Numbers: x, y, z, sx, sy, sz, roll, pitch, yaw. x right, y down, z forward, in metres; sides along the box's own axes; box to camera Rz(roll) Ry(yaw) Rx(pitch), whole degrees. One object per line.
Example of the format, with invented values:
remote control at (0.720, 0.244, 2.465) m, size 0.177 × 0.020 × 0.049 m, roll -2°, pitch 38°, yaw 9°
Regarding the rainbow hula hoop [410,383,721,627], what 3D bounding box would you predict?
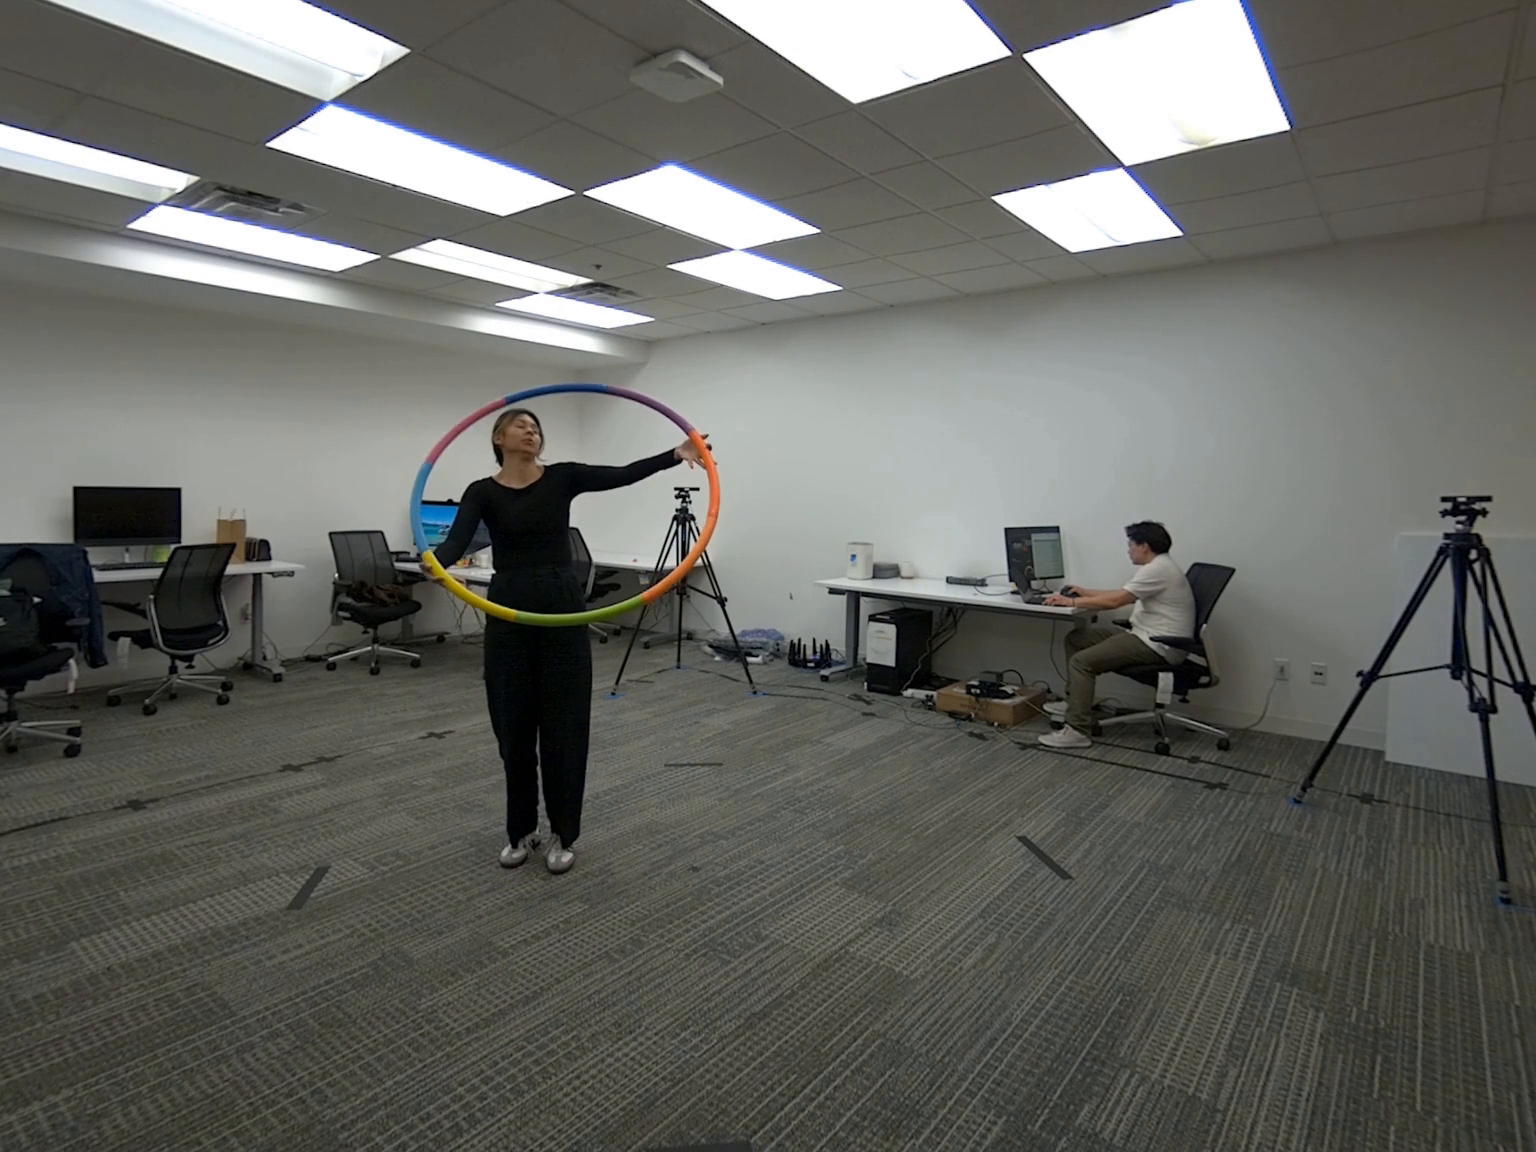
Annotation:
rainbow hula hoop at (-0.649, -0.274, 2.735) m, size 0.983 × 1.013 × 0.050 m, roll 0°, pitch -35°, yaw -2°
